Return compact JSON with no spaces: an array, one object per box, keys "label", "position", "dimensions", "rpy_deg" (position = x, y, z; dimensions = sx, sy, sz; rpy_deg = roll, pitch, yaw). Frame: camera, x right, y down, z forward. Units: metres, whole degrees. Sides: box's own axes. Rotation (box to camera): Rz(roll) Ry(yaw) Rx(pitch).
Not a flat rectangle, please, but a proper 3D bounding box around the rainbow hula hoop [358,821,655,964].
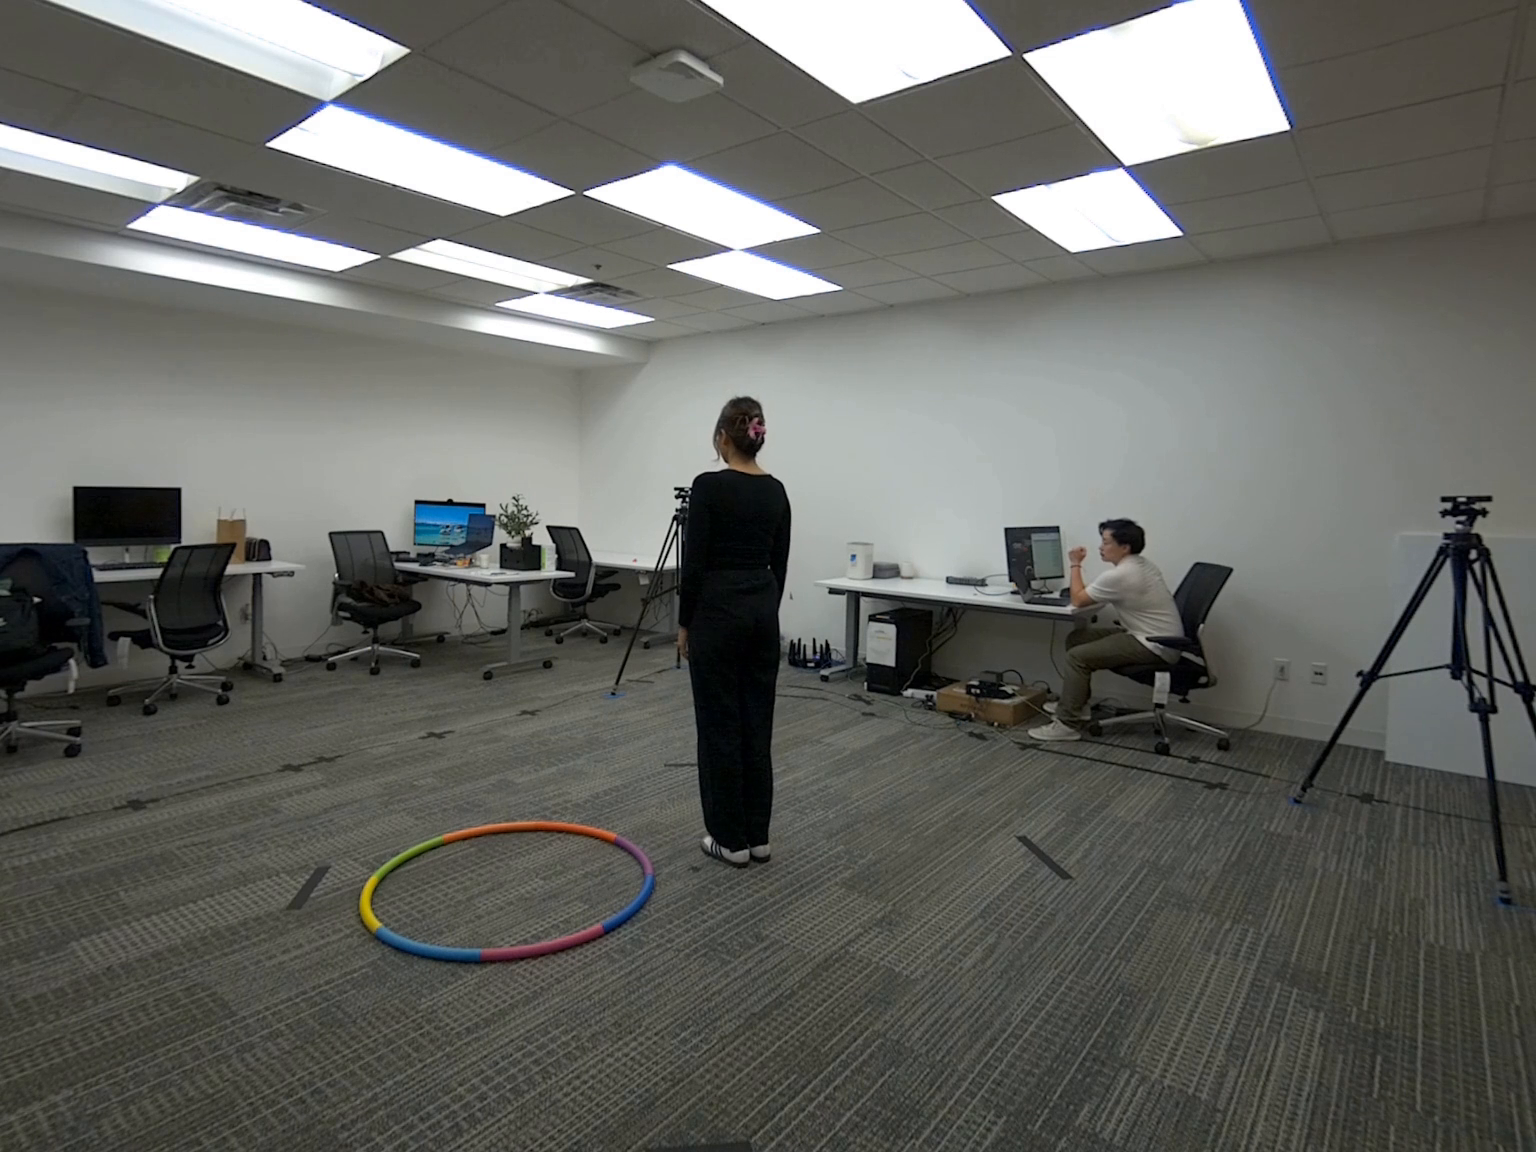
[{"label":"rainbow hula hoop","position":[-0.894,1.047,2.951],"dimensions":[0.984,0.051,0.991],"rpy_deg":[1,6,-2]}]
